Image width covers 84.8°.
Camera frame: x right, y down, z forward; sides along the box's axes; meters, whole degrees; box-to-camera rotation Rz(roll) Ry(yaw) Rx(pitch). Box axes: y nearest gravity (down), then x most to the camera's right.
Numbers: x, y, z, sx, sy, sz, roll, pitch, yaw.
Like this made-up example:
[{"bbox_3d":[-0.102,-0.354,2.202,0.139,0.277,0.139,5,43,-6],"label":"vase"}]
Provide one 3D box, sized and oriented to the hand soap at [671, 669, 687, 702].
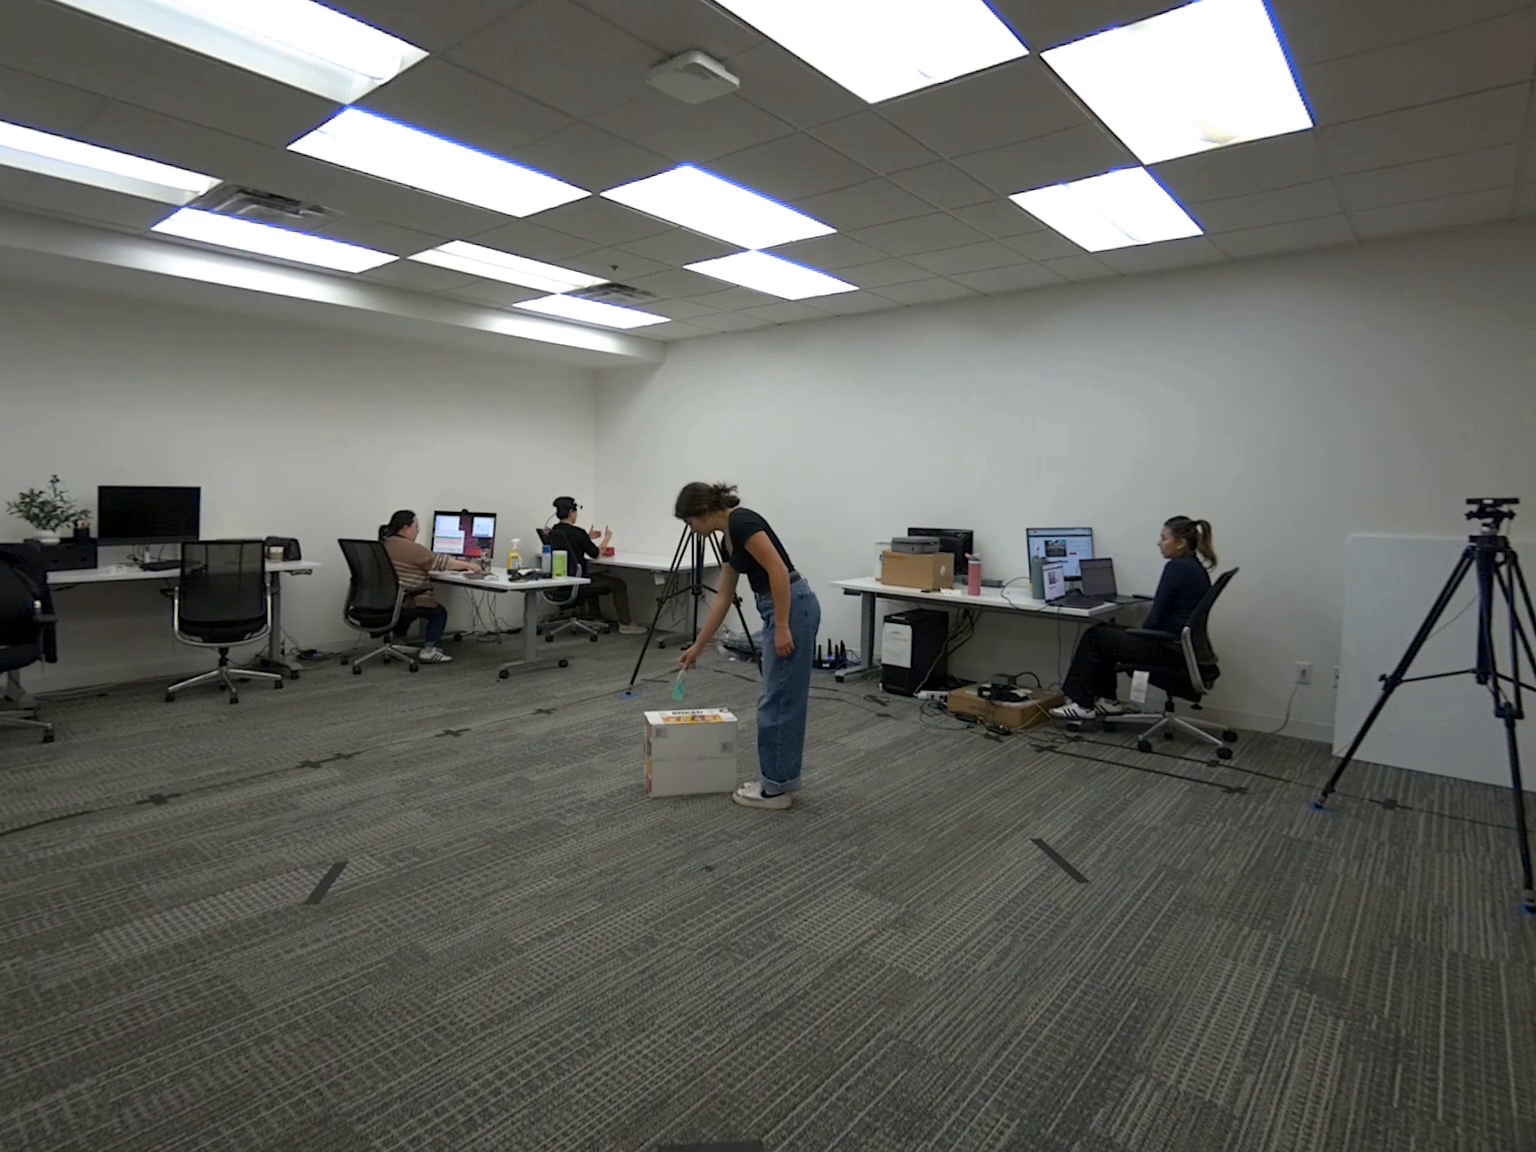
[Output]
[{"bbox_3d":[-0.410,0.475,3.927,0.044,0.168,0.082,7,1,24],"label":"hand soap"}]
